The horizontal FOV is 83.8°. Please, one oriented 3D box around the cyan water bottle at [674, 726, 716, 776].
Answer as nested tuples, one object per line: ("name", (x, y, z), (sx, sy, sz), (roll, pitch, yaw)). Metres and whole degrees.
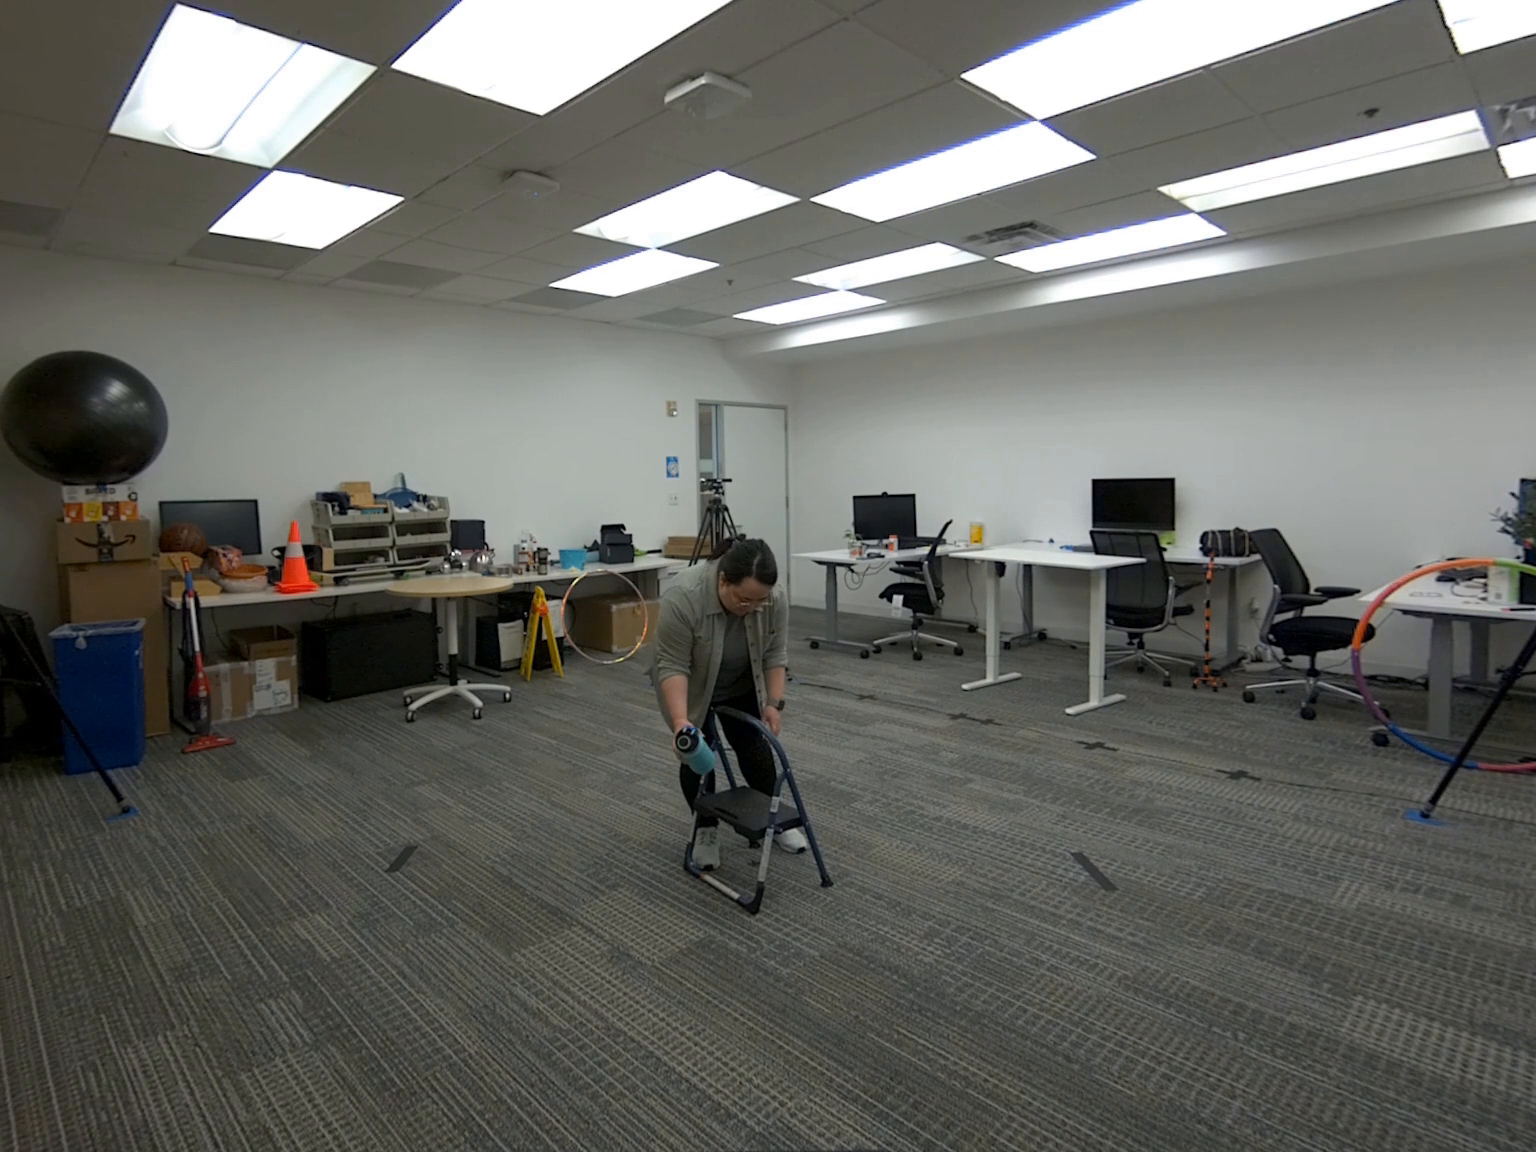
("cyan water bottle", (-0.237, 0.577, 2.813), (0.093, 0.094, 0.274), (0, -29, 10))
